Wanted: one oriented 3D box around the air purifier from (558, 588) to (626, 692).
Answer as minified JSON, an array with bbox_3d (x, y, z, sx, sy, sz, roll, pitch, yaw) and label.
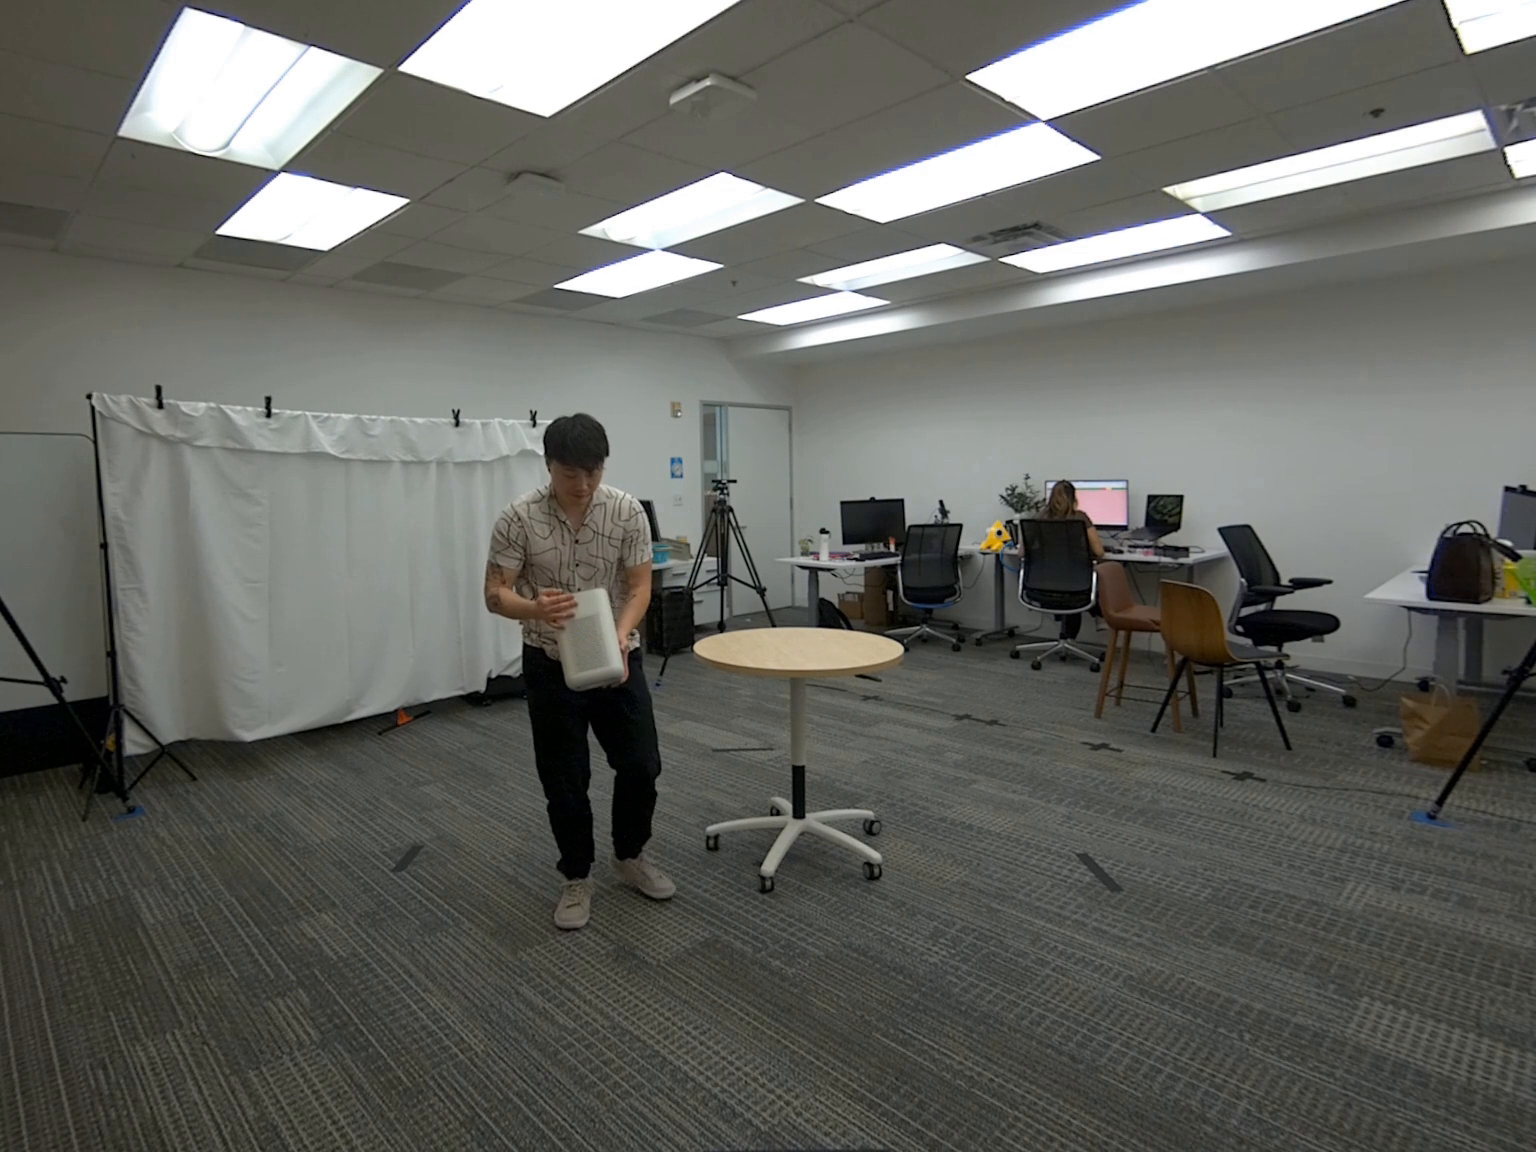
[{"bbox_3d":[-0.530,0.197,2.499,0.171,0.270,0.169,-13,-14,-7],"label":"air purifier"}]
